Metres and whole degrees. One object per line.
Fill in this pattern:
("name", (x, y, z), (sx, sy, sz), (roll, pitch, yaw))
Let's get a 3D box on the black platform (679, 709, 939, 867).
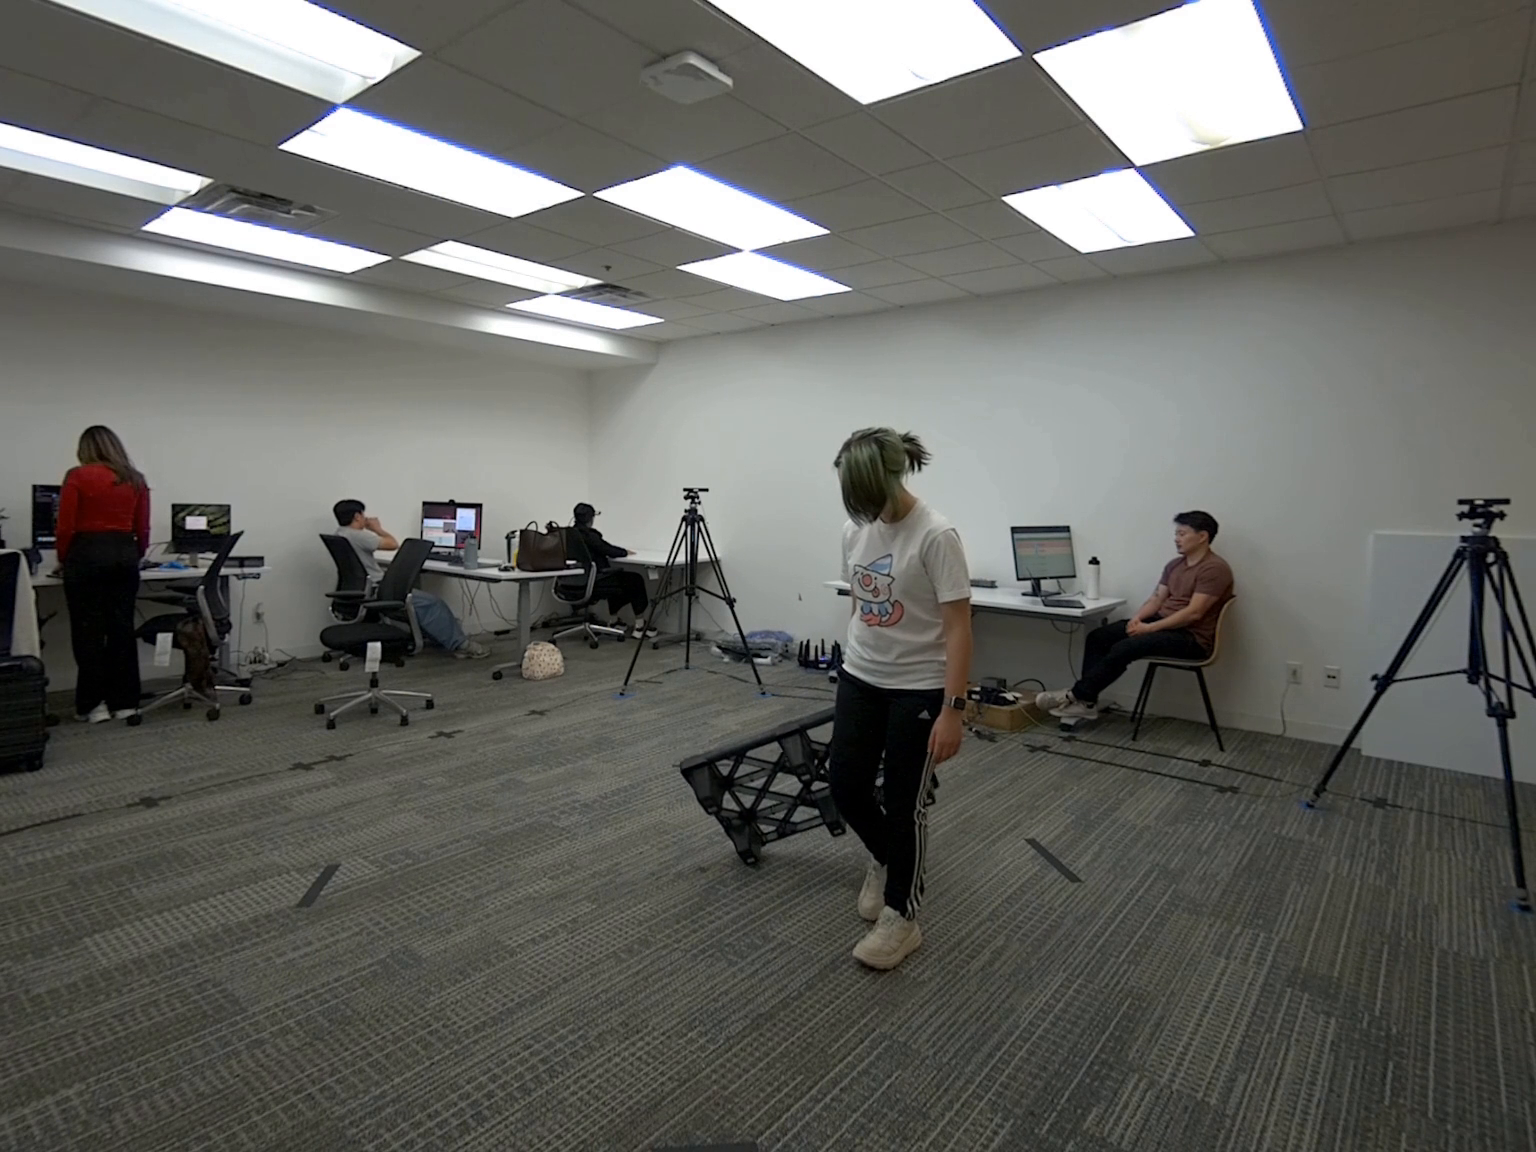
("black platform", (0.160, 0.743, 3.005), (0.810, 0.582, 0.148), (-21, 37, 8))
